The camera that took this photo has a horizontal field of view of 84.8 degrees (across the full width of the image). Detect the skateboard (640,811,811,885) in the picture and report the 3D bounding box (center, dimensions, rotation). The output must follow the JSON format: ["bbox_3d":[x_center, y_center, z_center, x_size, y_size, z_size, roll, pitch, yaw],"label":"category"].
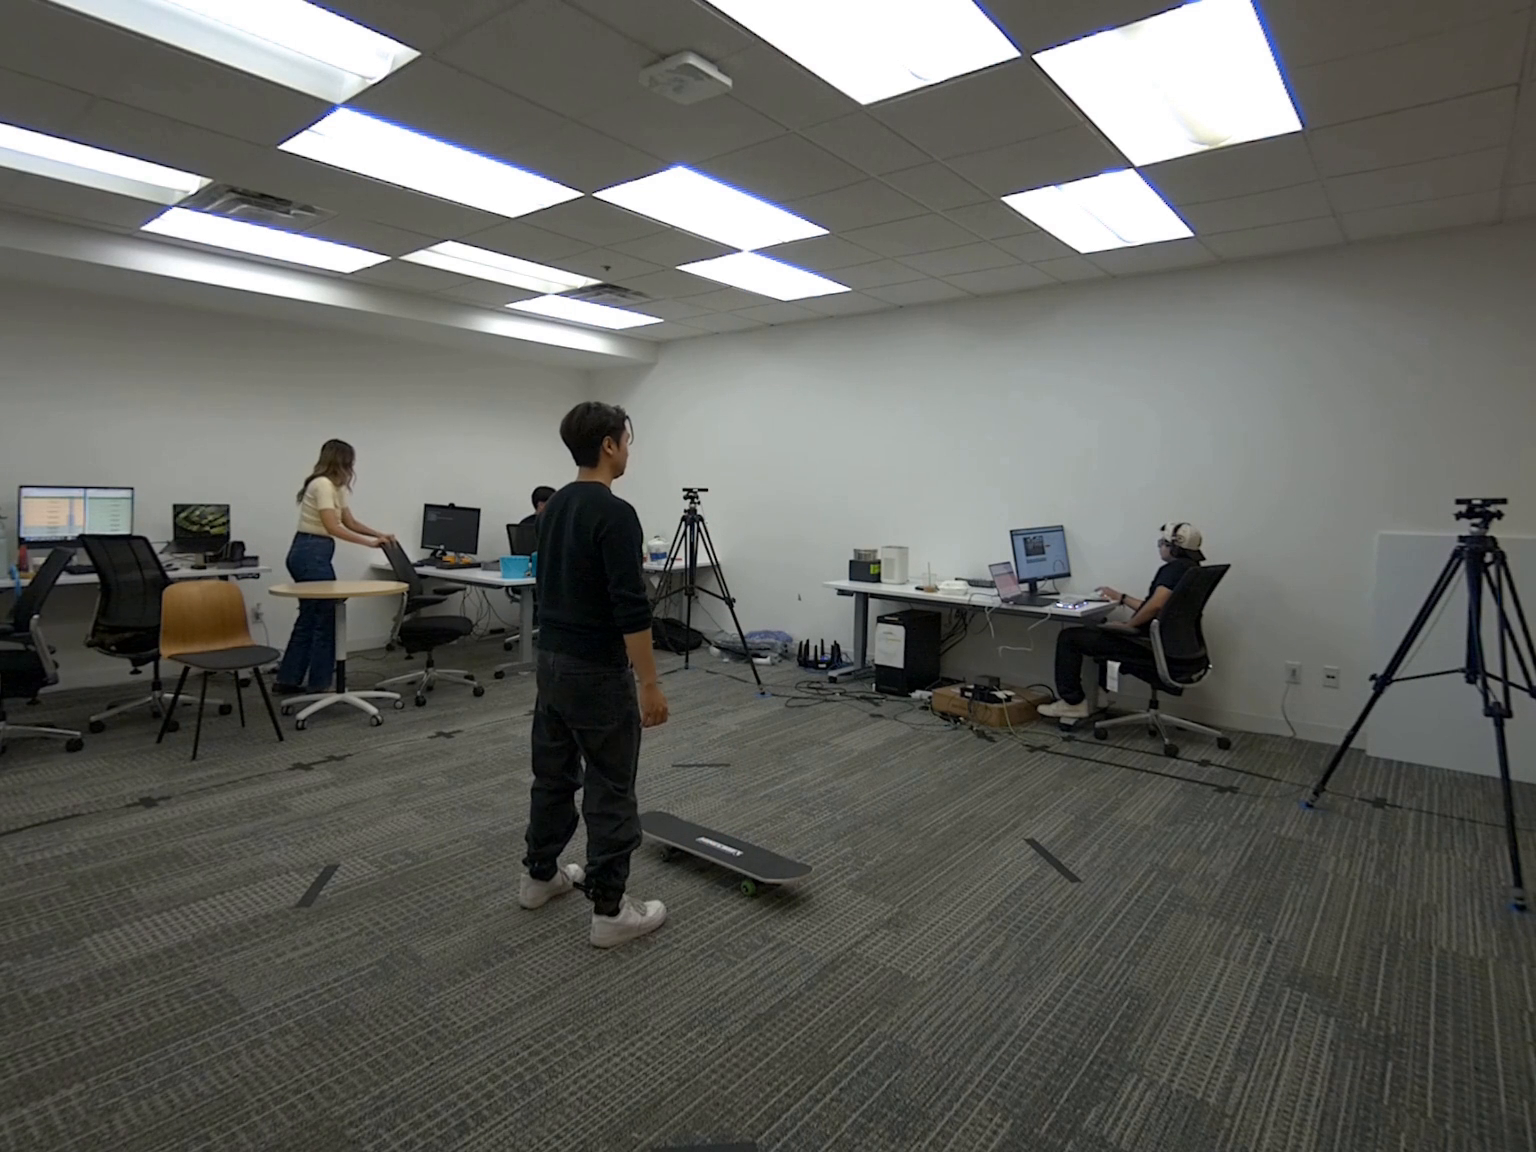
[{"bbox_3d":[-0.192,1.010,3.097,0.812,0.110,0.188,6,6,39],"label":"skateboard"}]
